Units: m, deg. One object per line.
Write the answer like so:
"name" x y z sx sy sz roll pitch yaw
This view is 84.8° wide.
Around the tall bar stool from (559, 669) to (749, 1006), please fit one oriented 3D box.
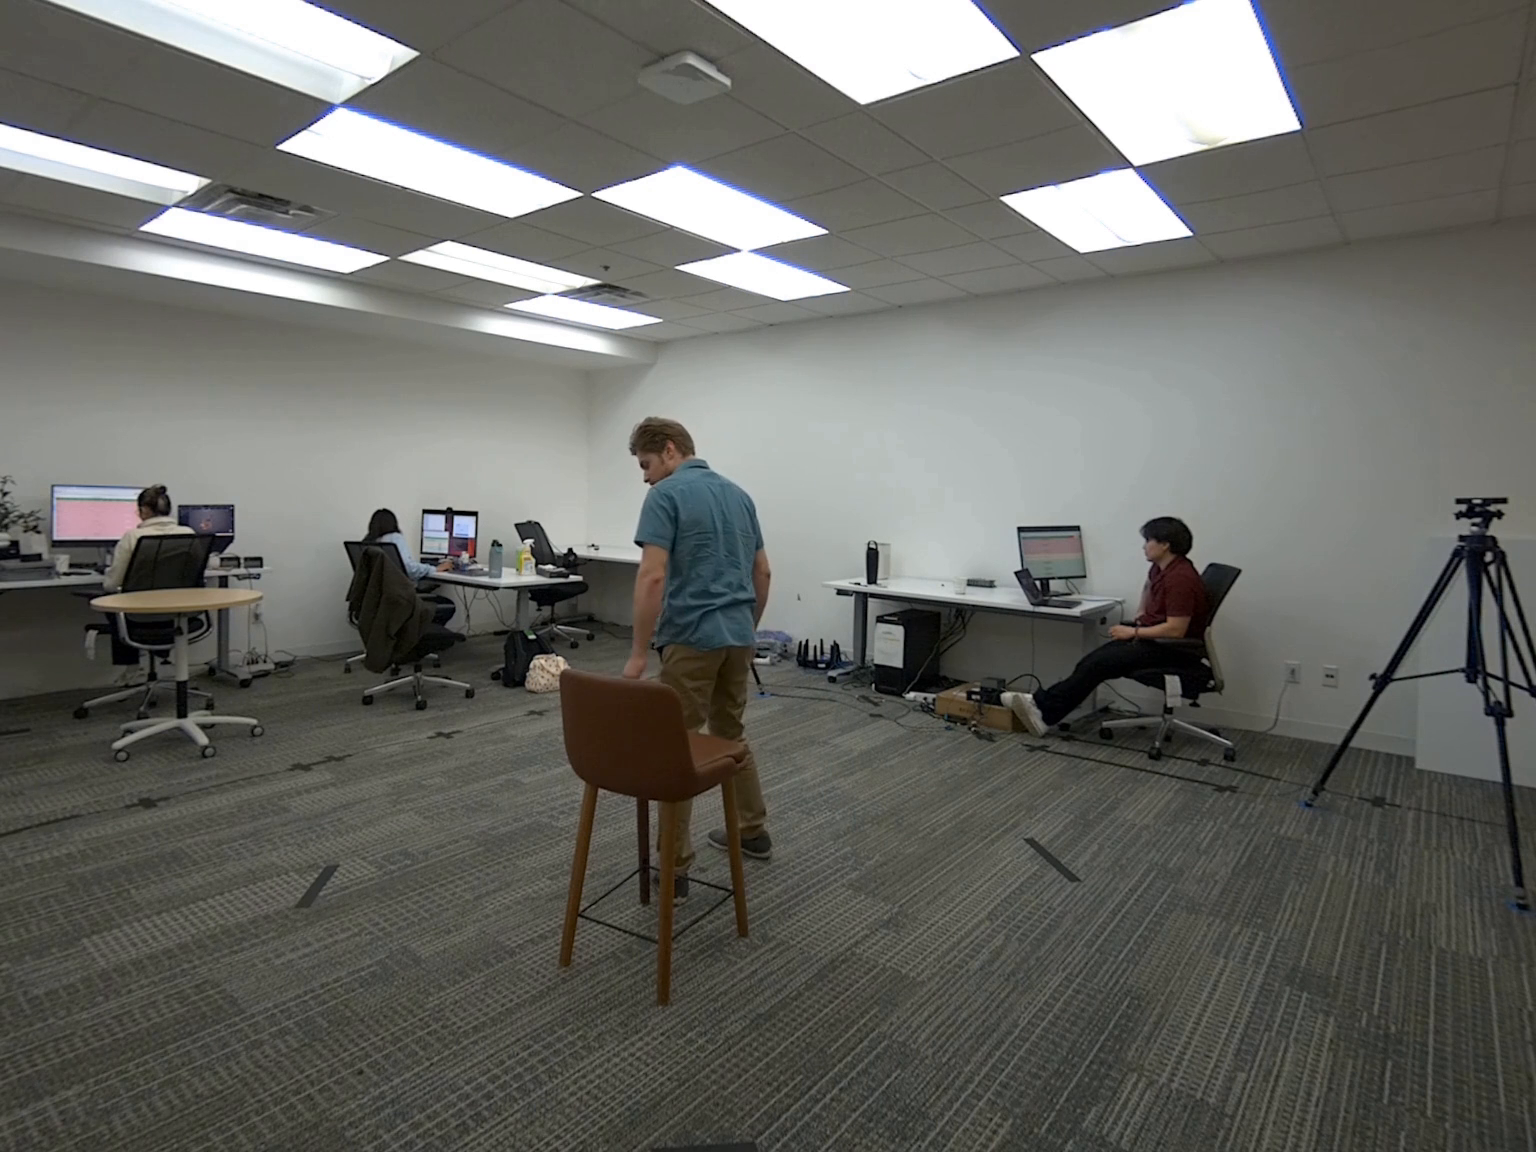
"tall bar stool" -0.350 0.688 2.542 0.470 0.886 0.456 2 5 29
